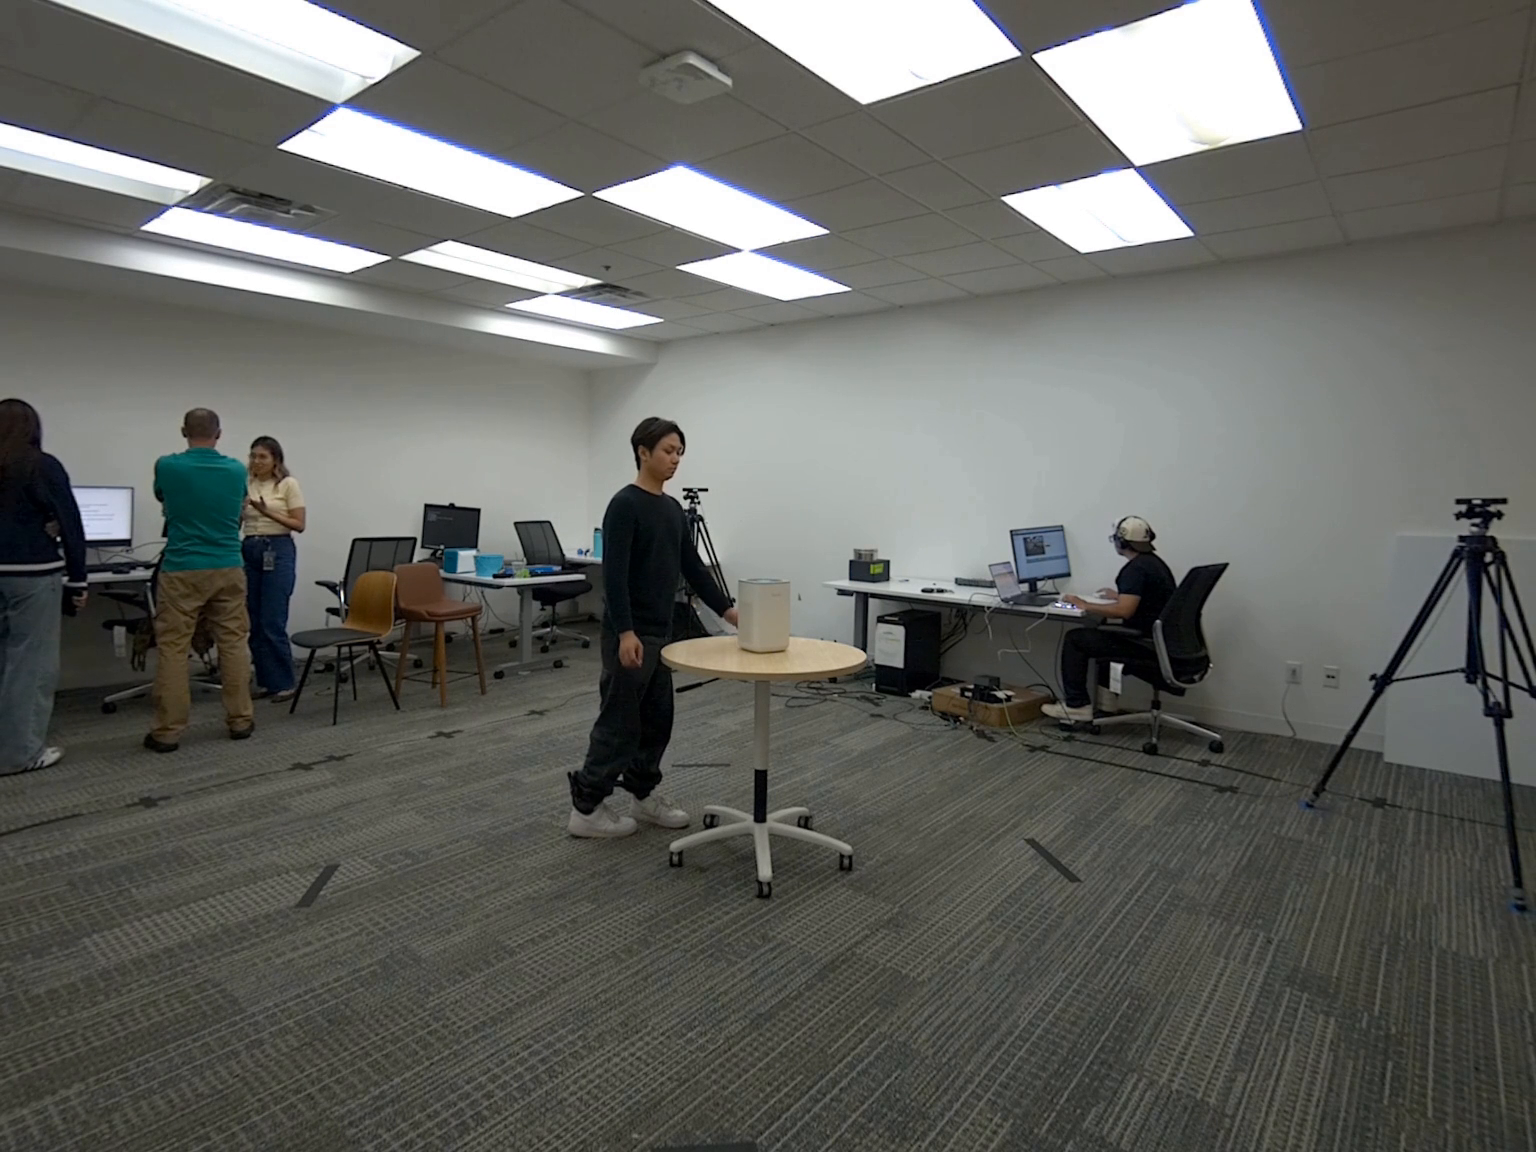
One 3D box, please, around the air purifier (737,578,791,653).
[{"bbox_3d":[-0.032,0.144,3.231,0.166,0.265,0.177,-1,3,-35],"label":"air purifier"}]
